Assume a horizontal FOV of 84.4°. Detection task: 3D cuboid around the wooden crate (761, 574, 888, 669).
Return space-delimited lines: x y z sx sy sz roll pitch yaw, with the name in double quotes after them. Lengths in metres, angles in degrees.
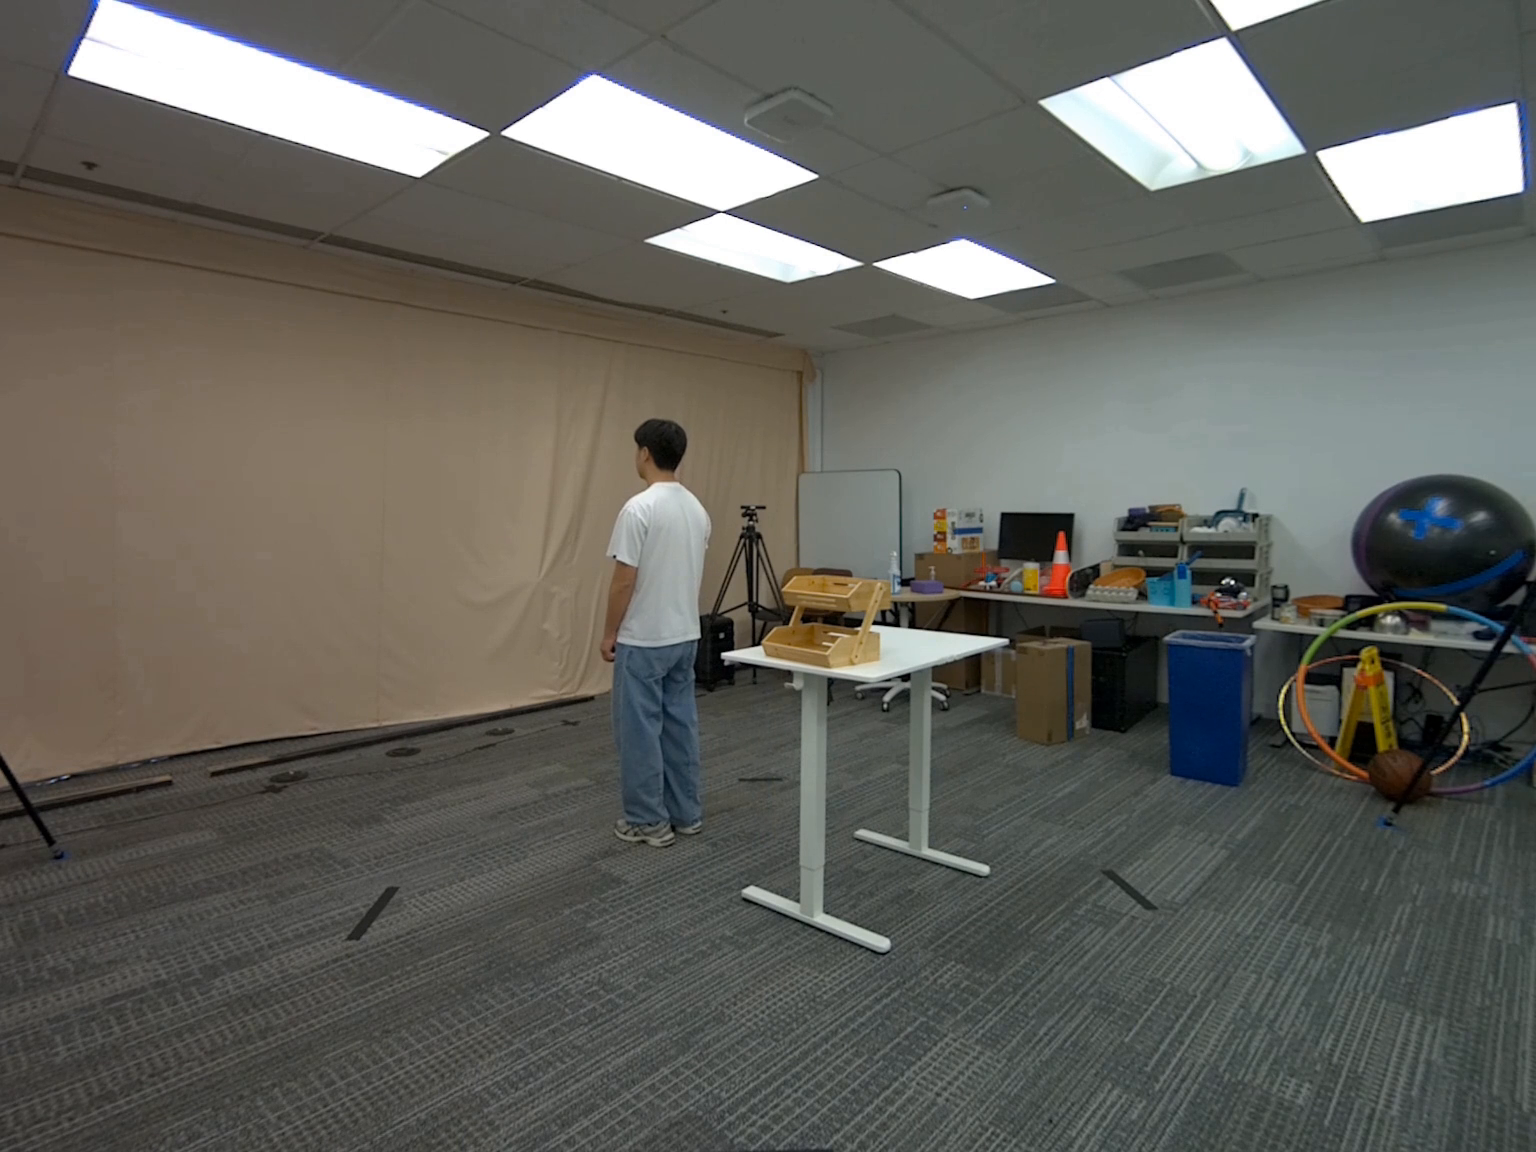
0.193 0.140 2.798 0.292 0.273 0.335 -2 4 -42 "wooden crate"
